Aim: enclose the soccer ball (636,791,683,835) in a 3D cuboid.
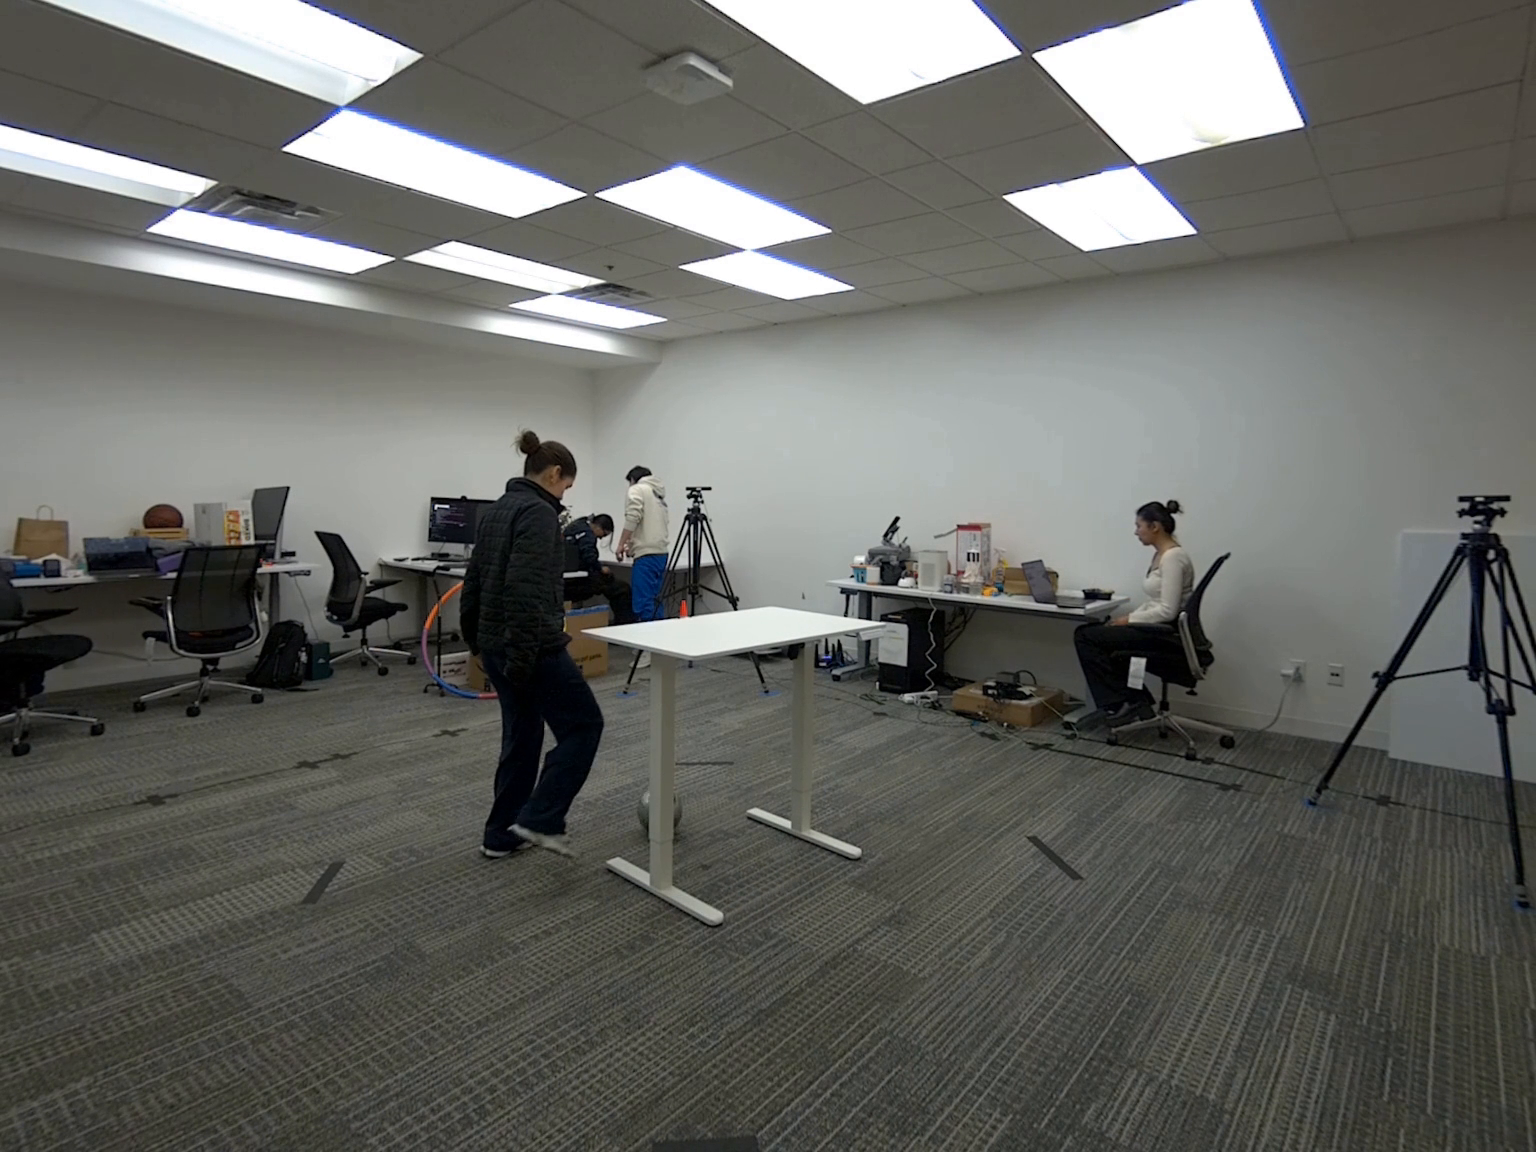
[{"bbox_3d":[-0.441,0.933,3.428,0.187,0.187,0.188,1,4,-2],"label":"soccer ball"}]
